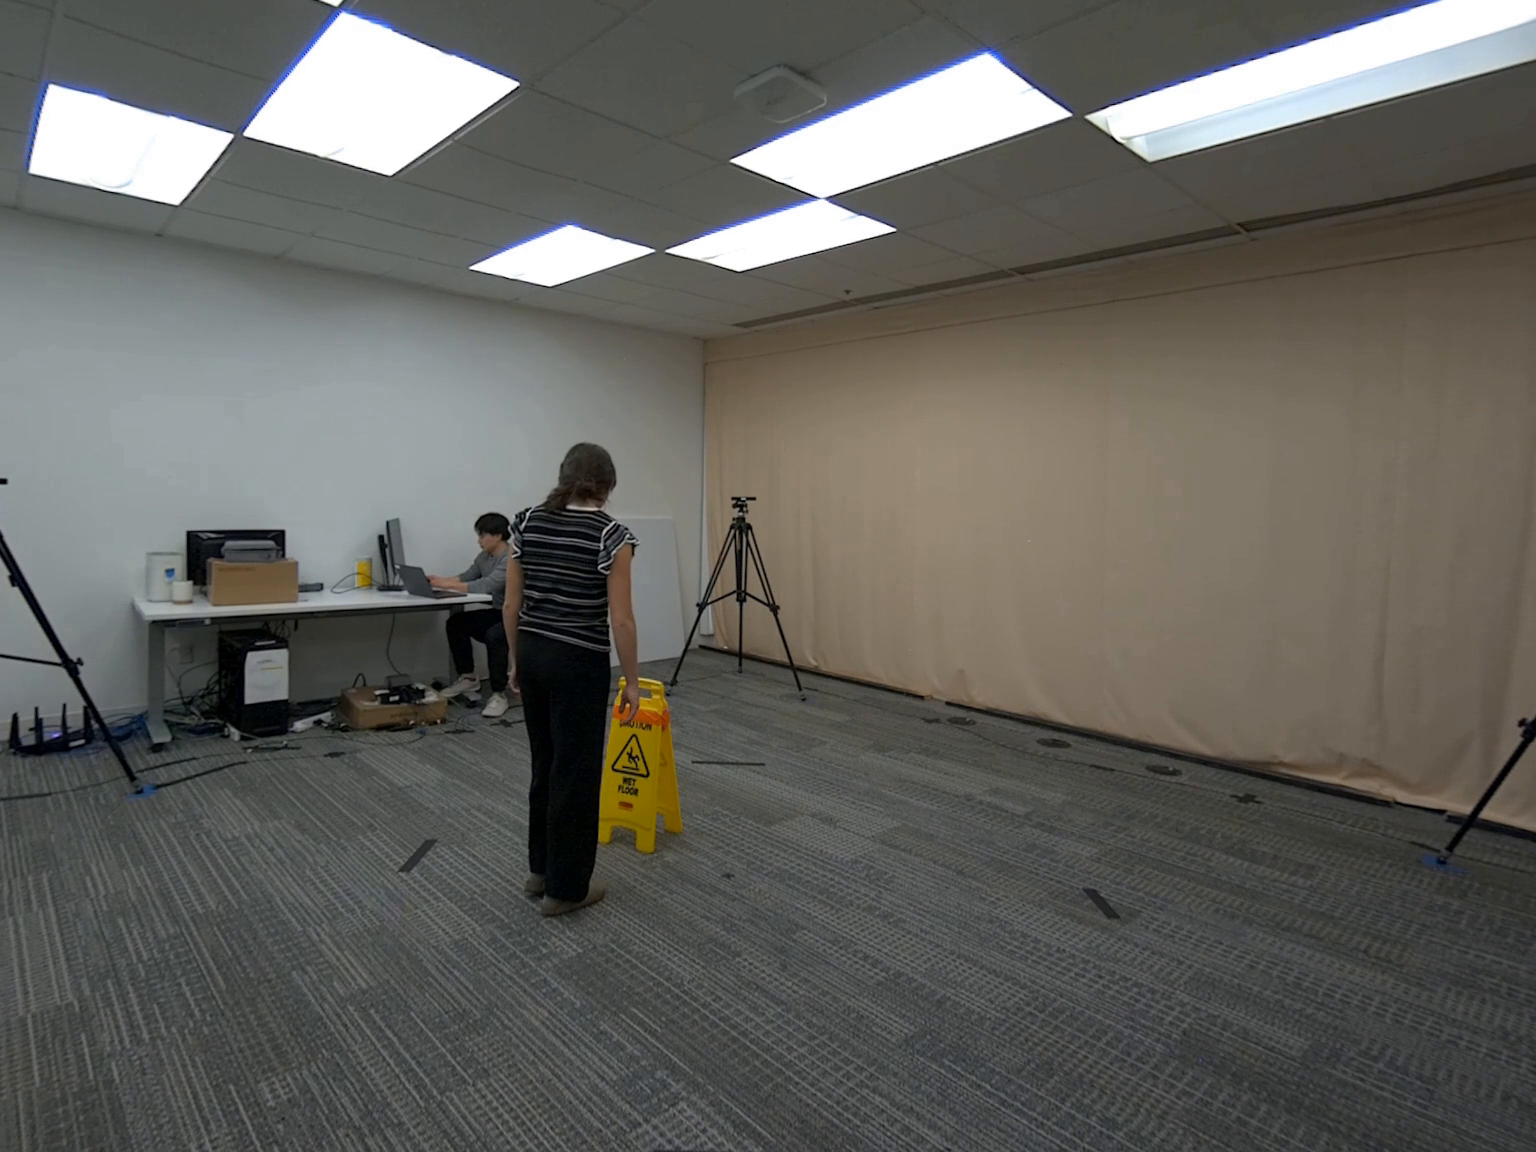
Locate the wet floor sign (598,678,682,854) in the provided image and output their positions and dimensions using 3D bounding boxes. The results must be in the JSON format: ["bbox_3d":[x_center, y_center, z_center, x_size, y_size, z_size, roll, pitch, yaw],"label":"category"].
[{"bbox_3d":[-0.531,0.746,3.439,0.287,0.645,0.285,4,3,24],"label":"wet floor sign"}]
